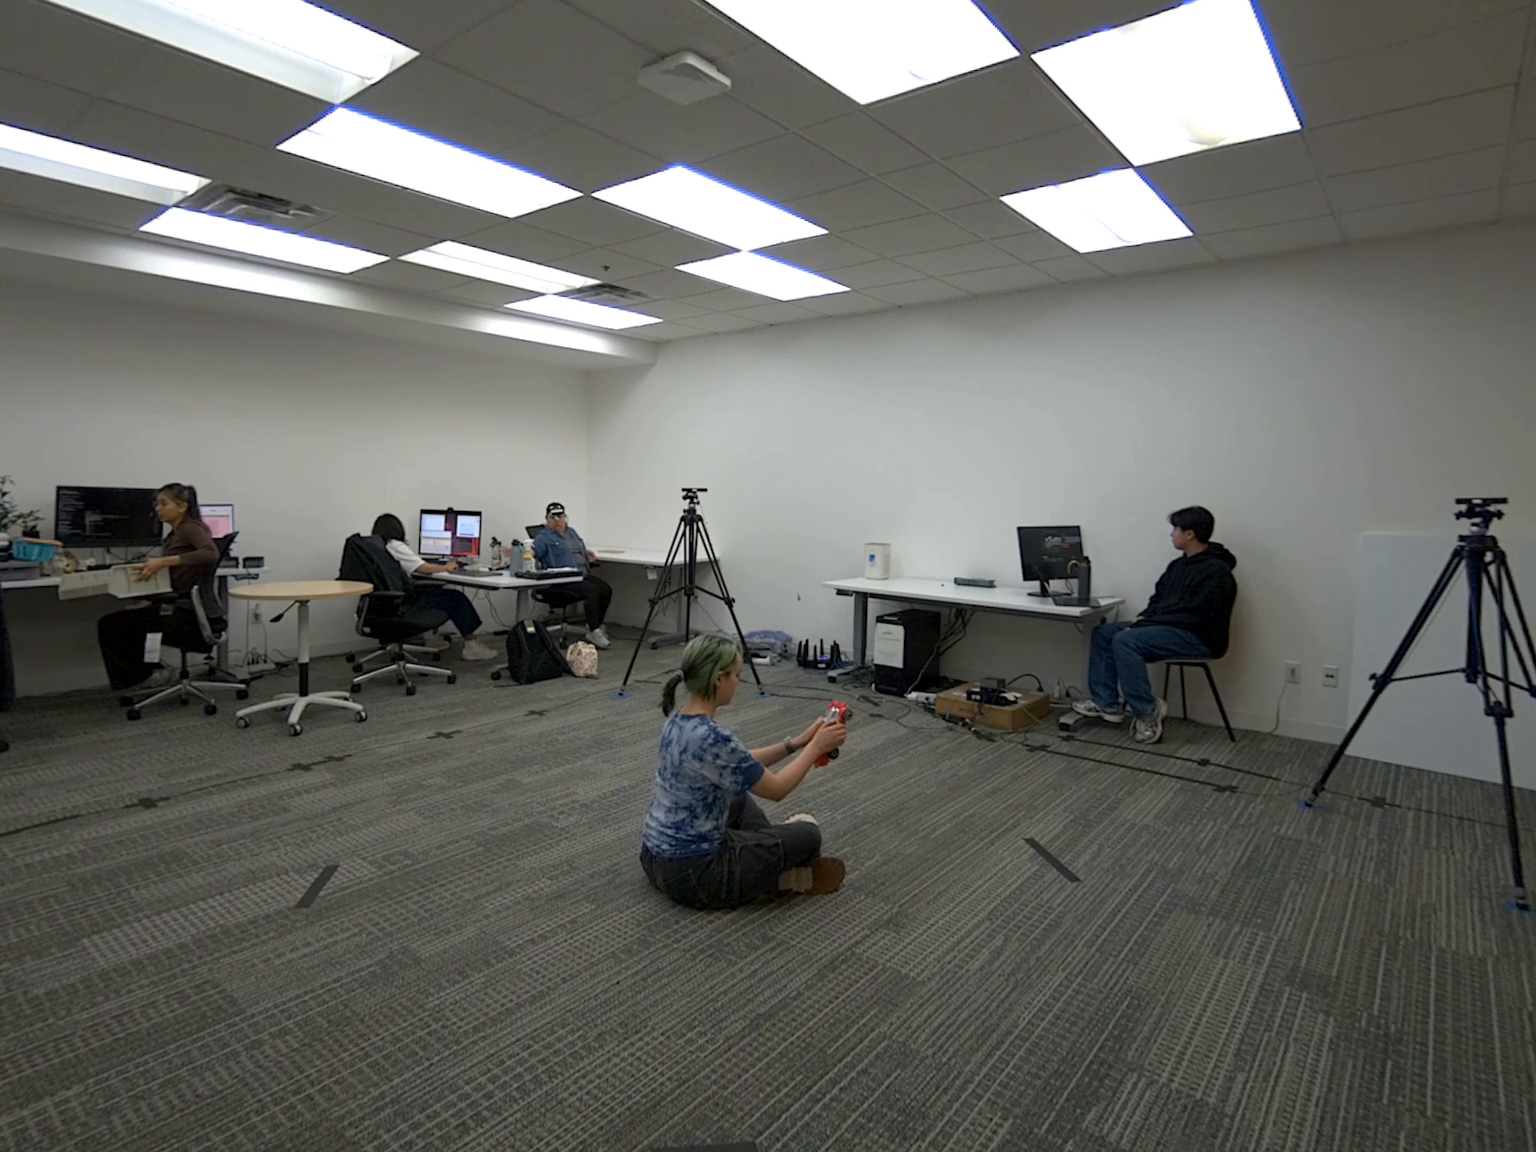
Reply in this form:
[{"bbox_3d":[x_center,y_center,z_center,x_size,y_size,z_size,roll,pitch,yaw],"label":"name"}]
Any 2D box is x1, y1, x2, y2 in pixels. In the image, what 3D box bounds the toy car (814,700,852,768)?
[{"bbox_3d":[0.219,0.588,3.109,0.081,0.255,0.133,37,-14,-21],"label":"toy car"}]
